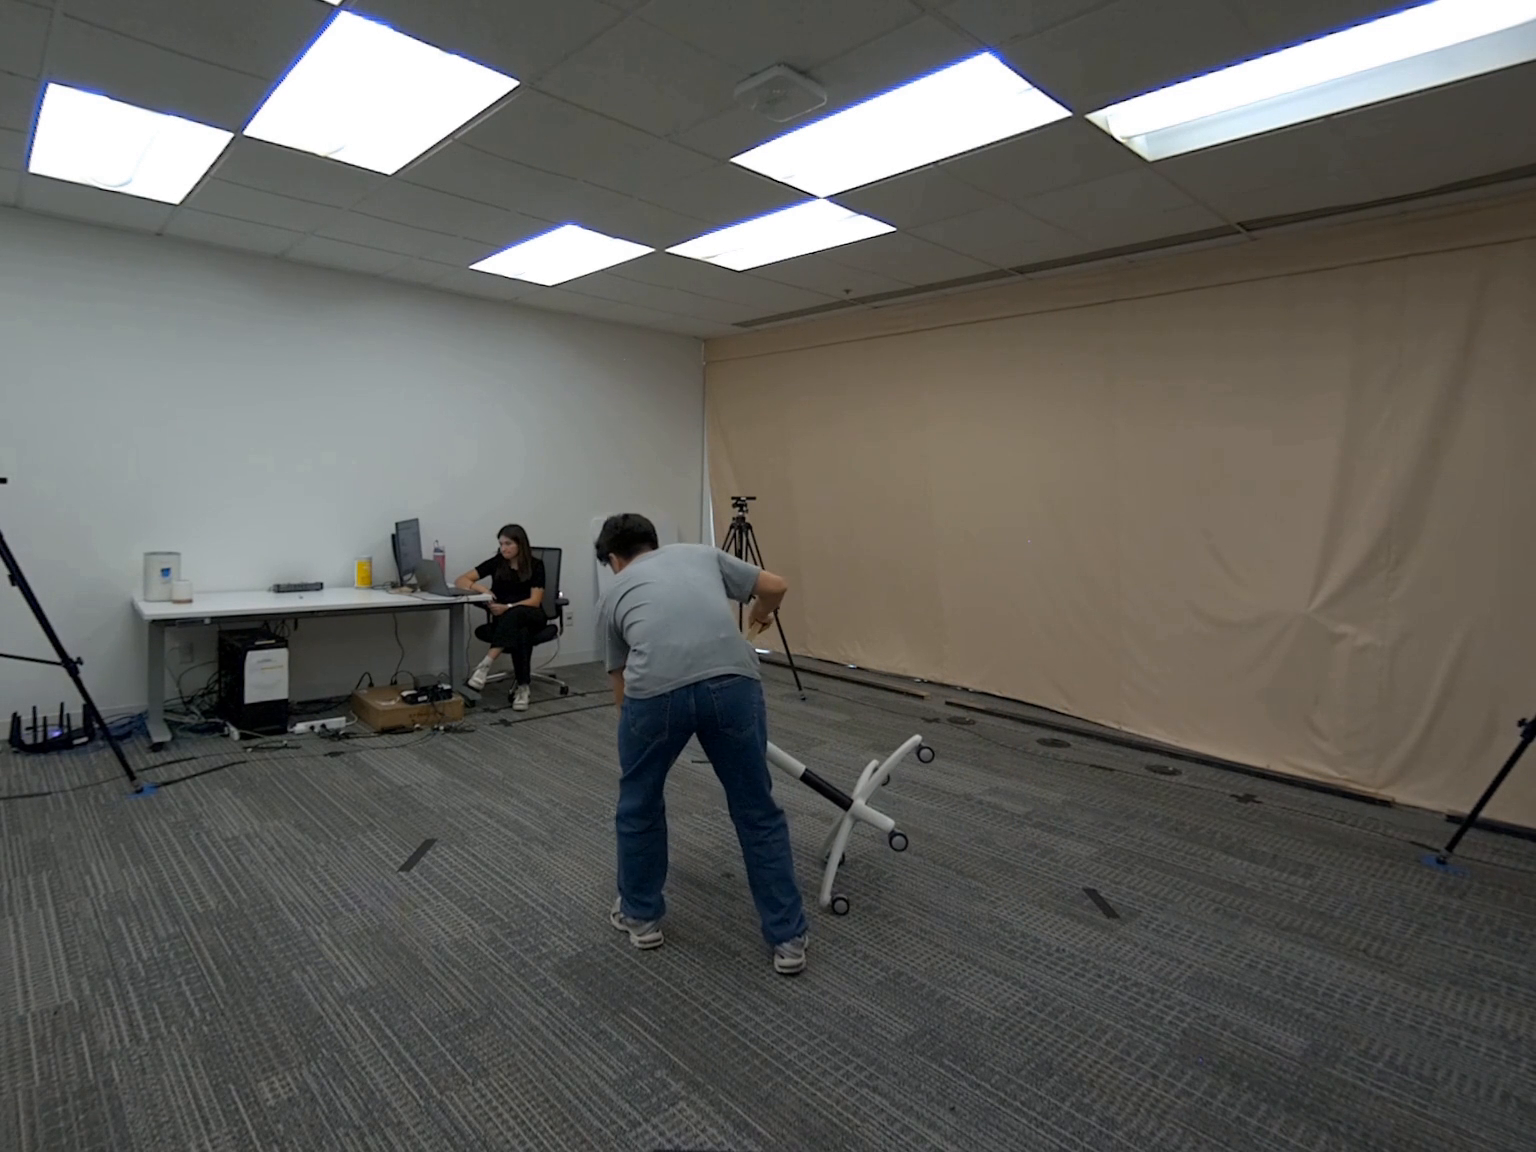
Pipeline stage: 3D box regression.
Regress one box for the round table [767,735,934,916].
[{"bbox_3d":[0.083,0.691,3.040,0.796,0.763,0.763,34,6,2],"label":"round table"}]
